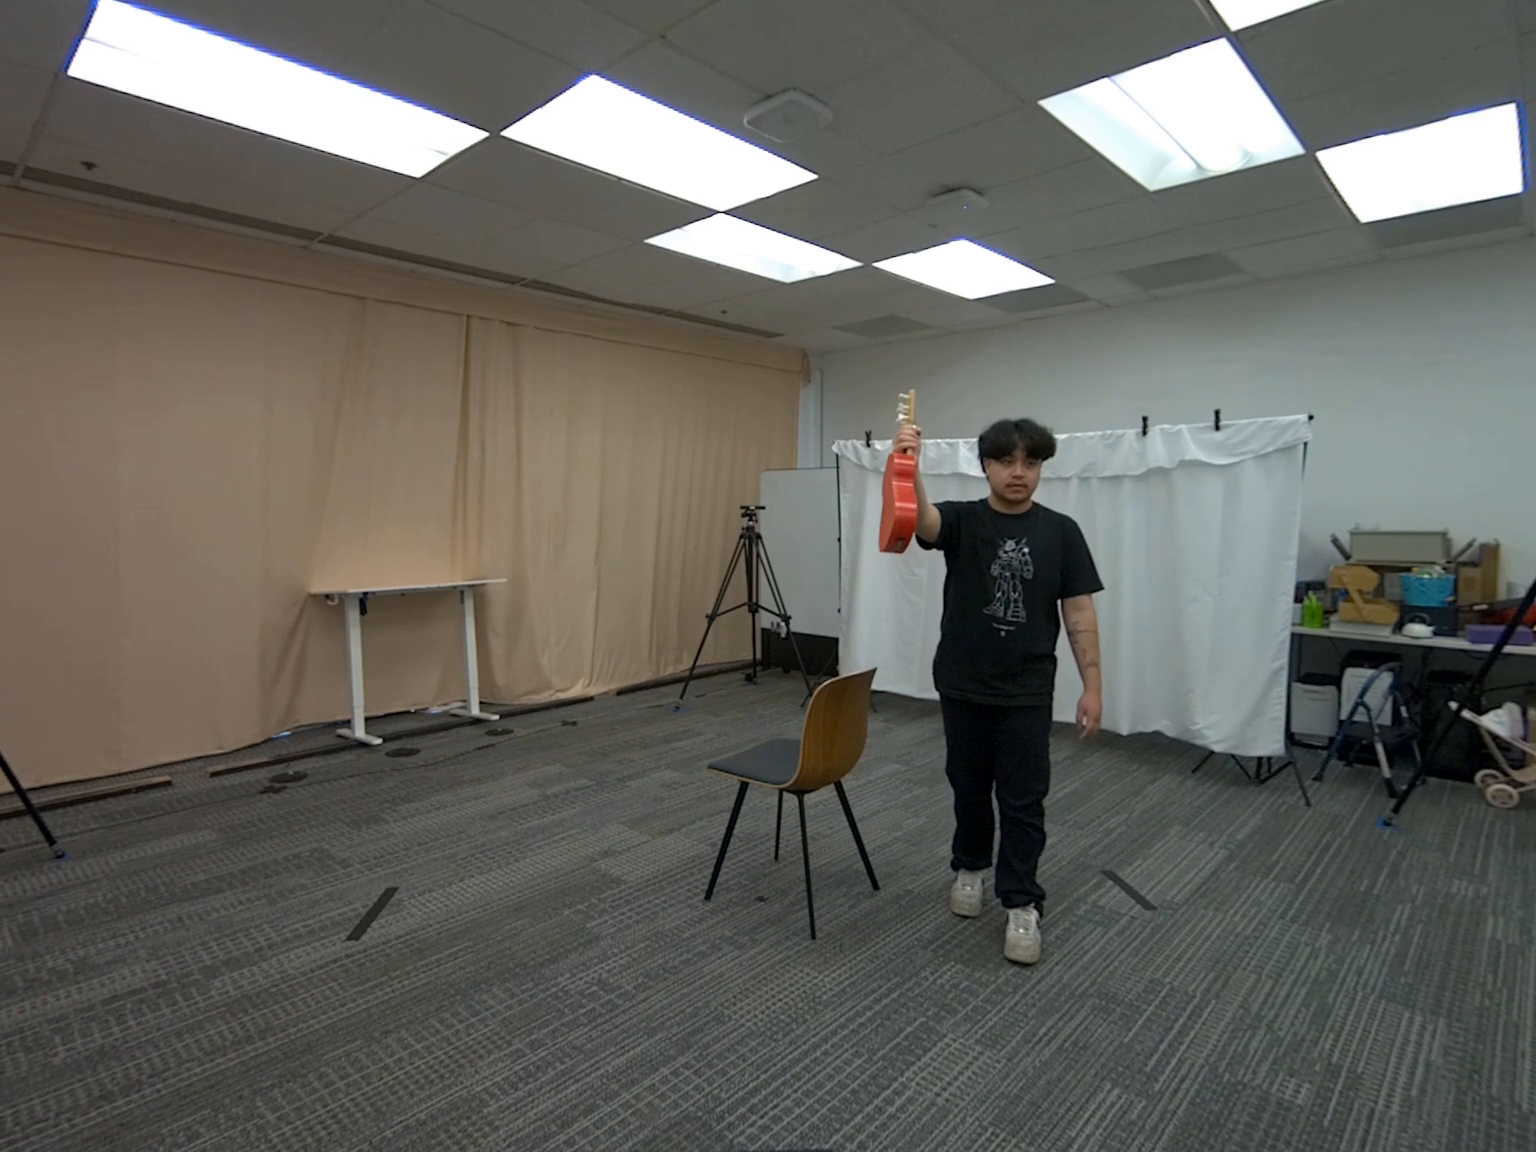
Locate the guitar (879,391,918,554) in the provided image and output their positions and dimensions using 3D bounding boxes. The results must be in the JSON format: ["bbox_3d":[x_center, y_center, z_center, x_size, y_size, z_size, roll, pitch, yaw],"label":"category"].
[{"bbox_3d":[0.375,-0.283,2.349,0.071,0.504,0.190,6,-33,0],"label":"guitar"}]
